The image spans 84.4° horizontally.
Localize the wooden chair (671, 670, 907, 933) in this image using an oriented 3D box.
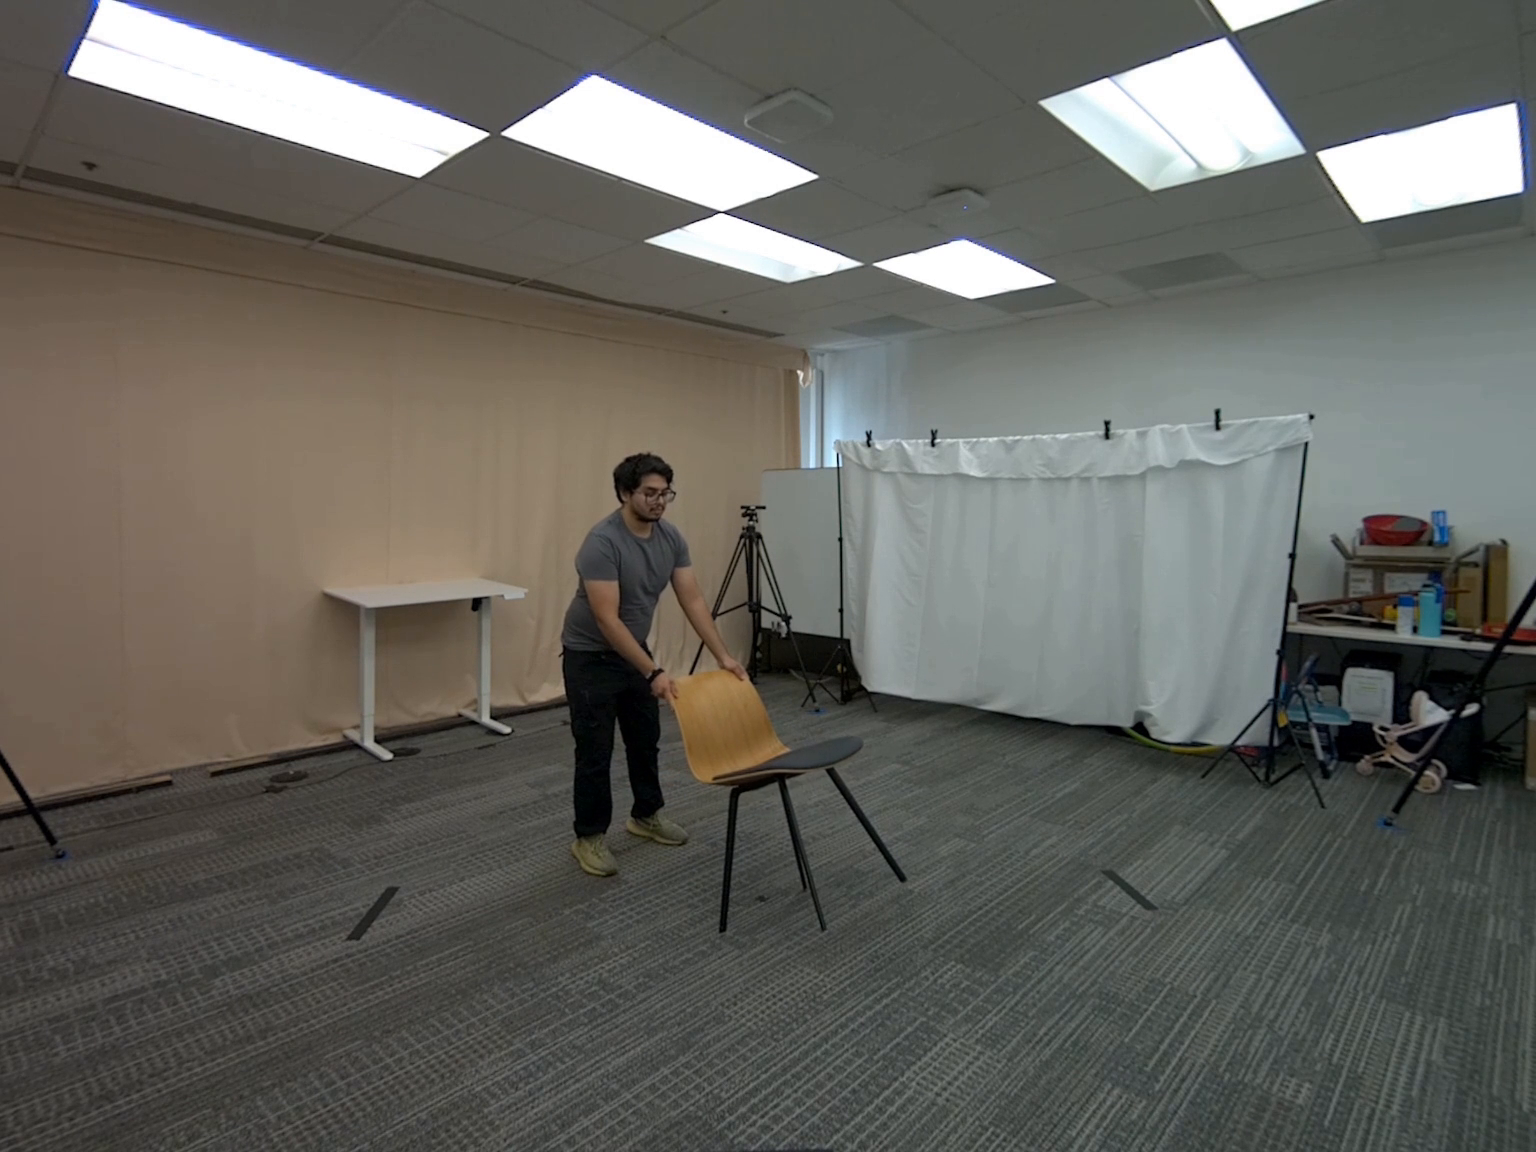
[{"bbox_3d":[0.048,0.672,2.824,0.463,0.889,0.532,-3,-21,-47],"label":"wooden chair"}]
